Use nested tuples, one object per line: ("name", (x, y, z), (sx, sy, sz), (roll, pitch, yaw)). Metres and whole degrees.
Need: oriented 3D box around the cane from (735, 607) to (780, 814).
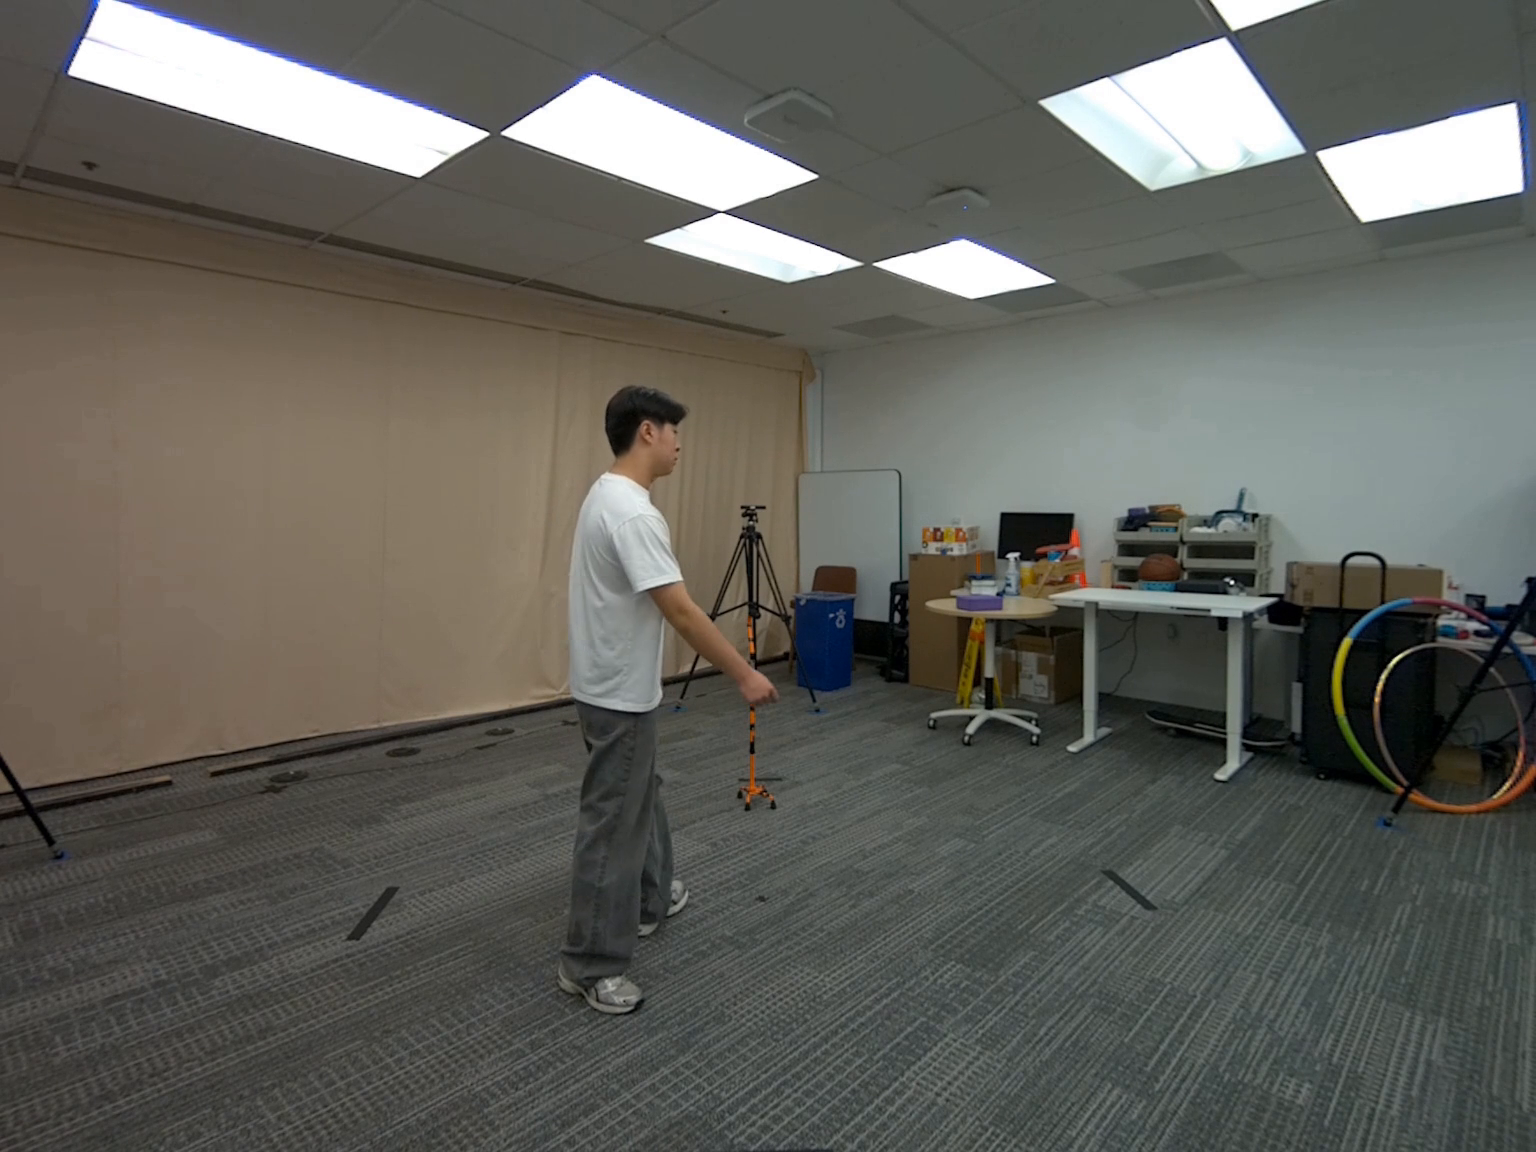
("cane", (-0.052, 0.611, 3.935), (0.150, 0.906, 0.209), (-1, 3, -12))
